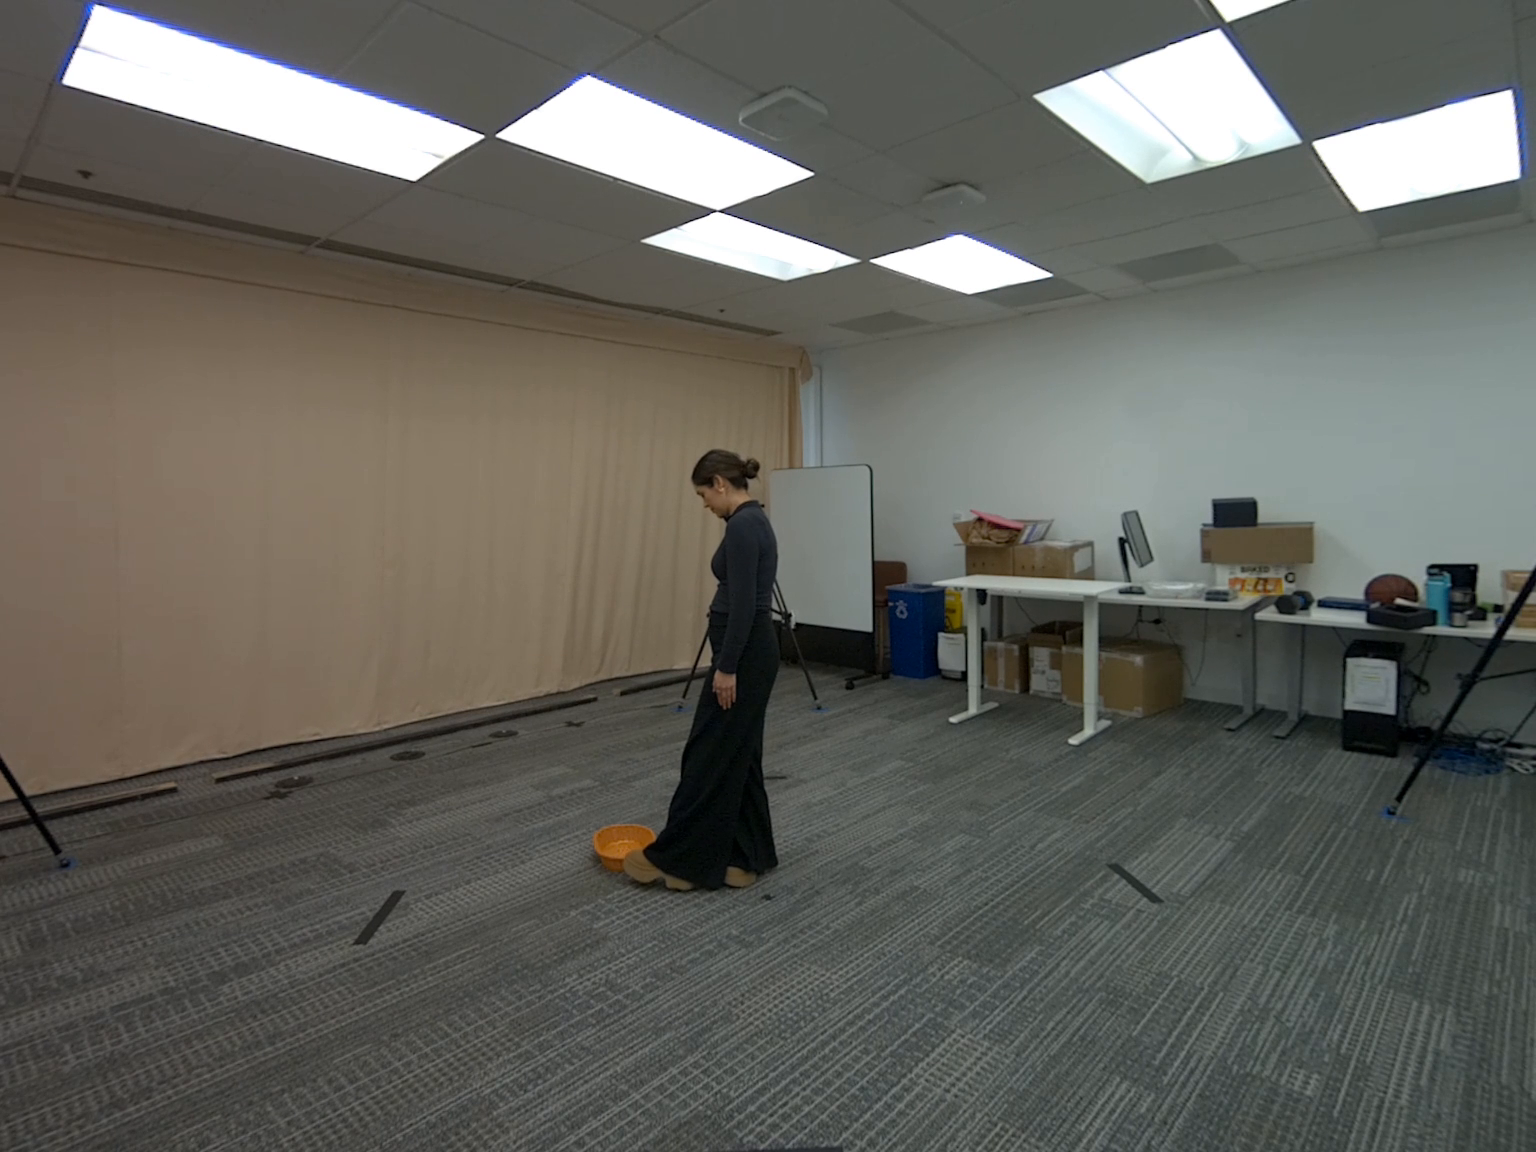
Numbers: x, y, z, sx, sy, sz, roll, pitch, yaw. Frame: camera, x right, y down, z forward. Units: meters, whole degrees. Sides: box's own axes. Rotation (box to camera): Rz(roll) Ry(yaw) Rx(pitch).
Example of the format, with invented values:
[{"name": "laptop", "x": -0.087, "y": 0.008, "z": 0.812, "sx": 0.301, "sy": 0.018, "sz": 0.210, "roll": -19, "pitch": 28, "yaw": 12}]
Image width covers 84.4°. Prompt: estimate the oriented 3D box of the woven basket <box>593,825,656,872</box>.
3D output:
[{"name": "woven basket", "x": -0.573, "y": 1.085, "z": 3.354, "sx": 0.249, "sy": 0.073, "sz": 0.356, "roll": -1, "pitch": 4, "yaw": -13}]
